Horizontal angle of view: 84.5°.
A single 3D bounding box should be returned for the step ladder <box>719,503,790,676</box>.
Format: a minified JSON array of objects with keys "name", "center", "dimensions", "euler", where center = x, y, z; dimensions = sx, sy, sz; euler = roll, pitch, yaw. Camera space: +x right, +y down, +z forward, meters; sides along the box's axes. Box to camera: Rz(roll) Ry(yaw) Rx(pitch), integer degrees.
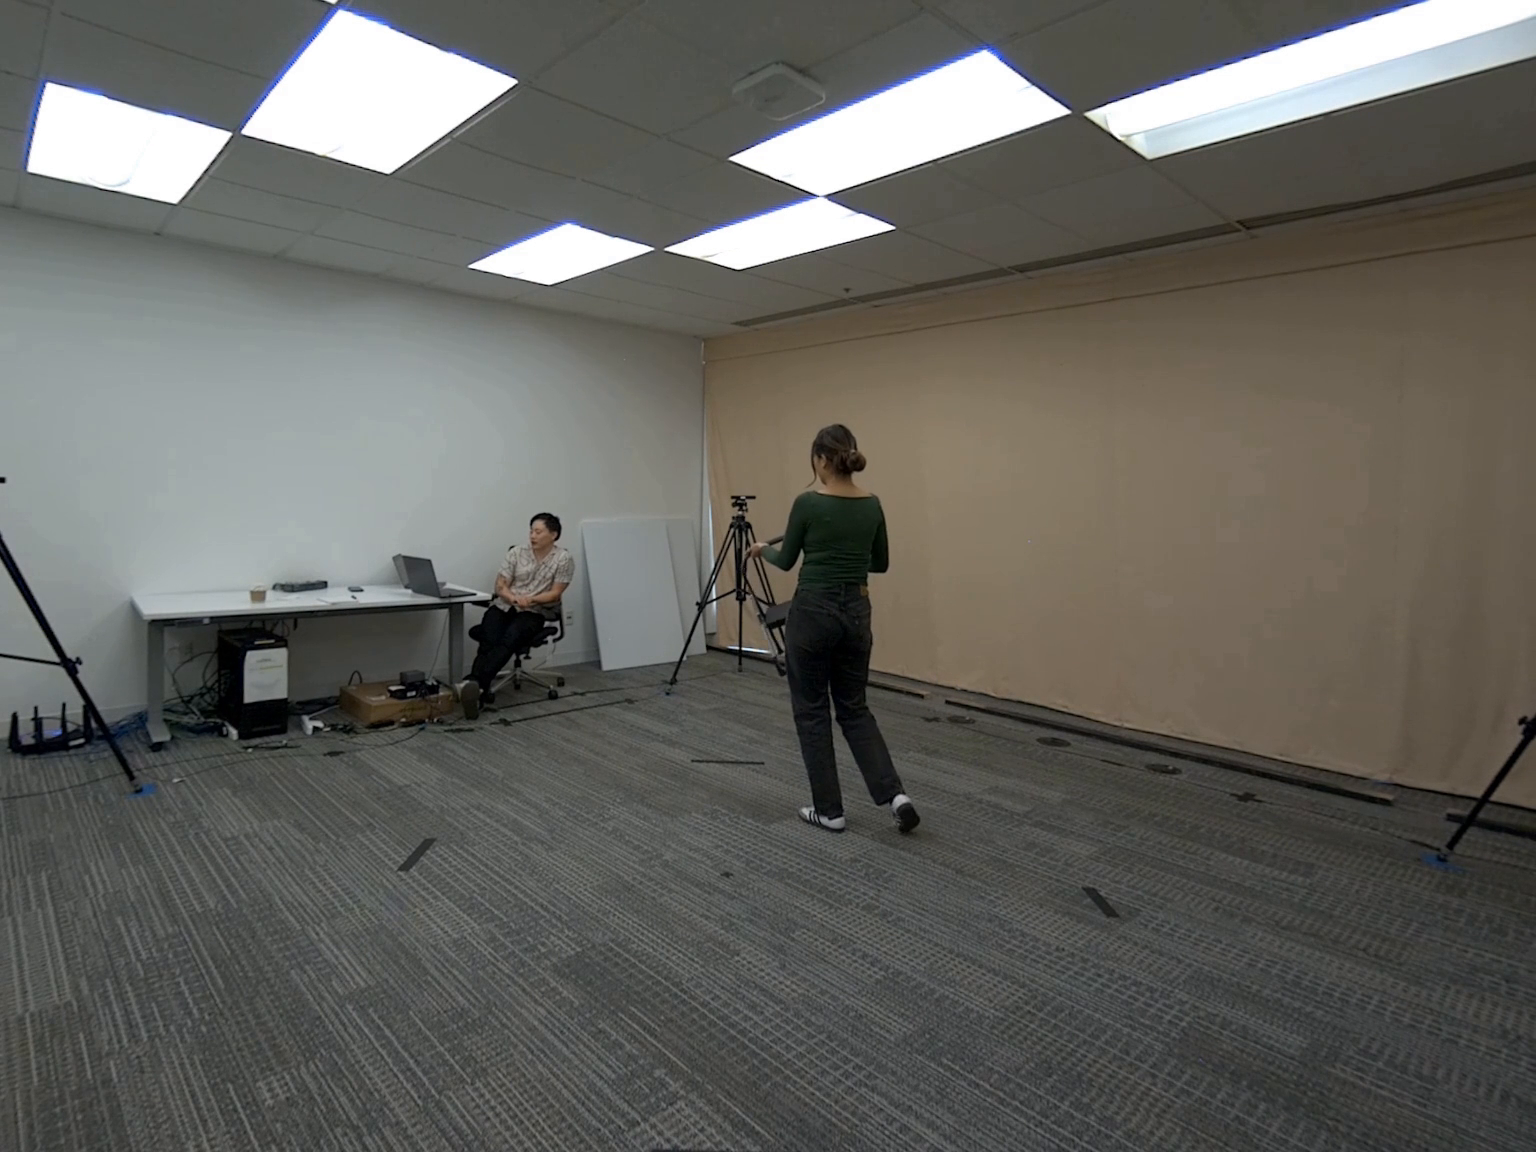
[{"name":"step ladder","center":[0.128,0.083,4.002],"dimensions":[0.432,0.599,0.352],"euler":[-21,12,6]}]
